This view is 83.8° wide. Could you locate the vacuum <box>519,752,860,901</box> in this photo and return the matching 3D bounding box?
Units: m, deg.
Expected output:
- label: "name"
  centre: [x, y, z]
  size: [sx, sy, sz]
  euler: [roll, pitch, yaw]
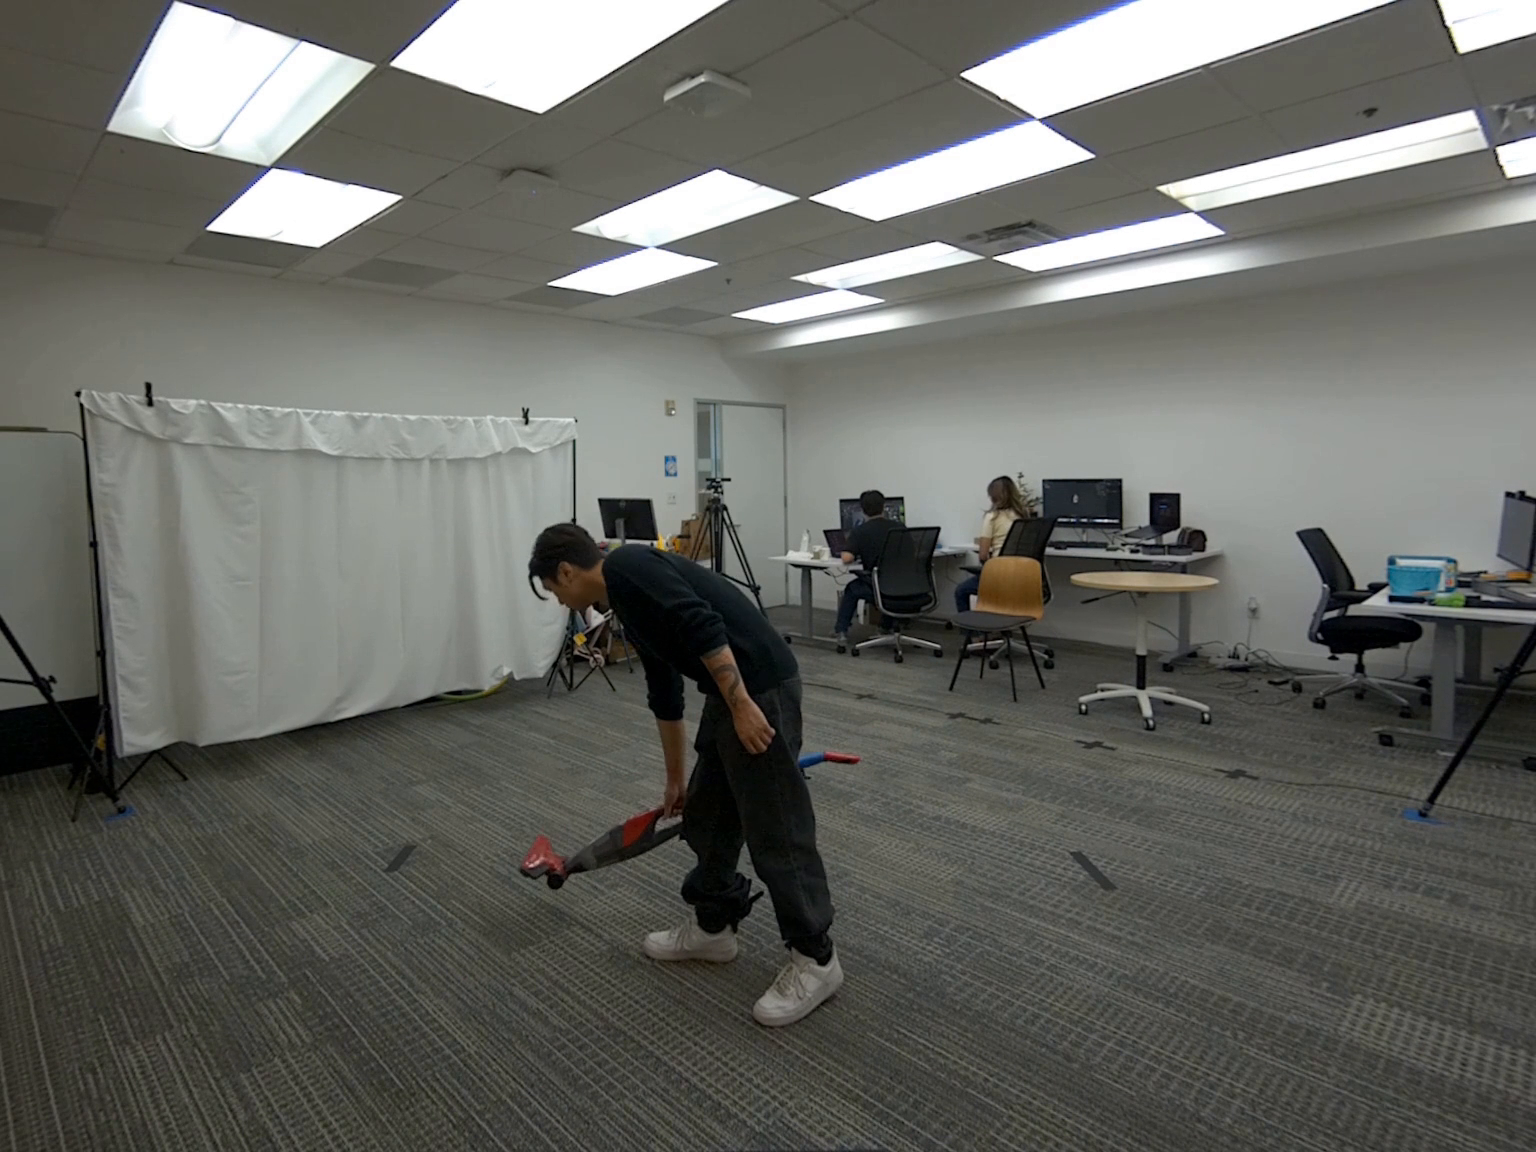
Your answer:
- label: "vacuum"
  centre: [-0.214, 0.753, 2.704]
  size: [1.050, 0.143, 0.253]
  euler: [-19, 5, 1]
